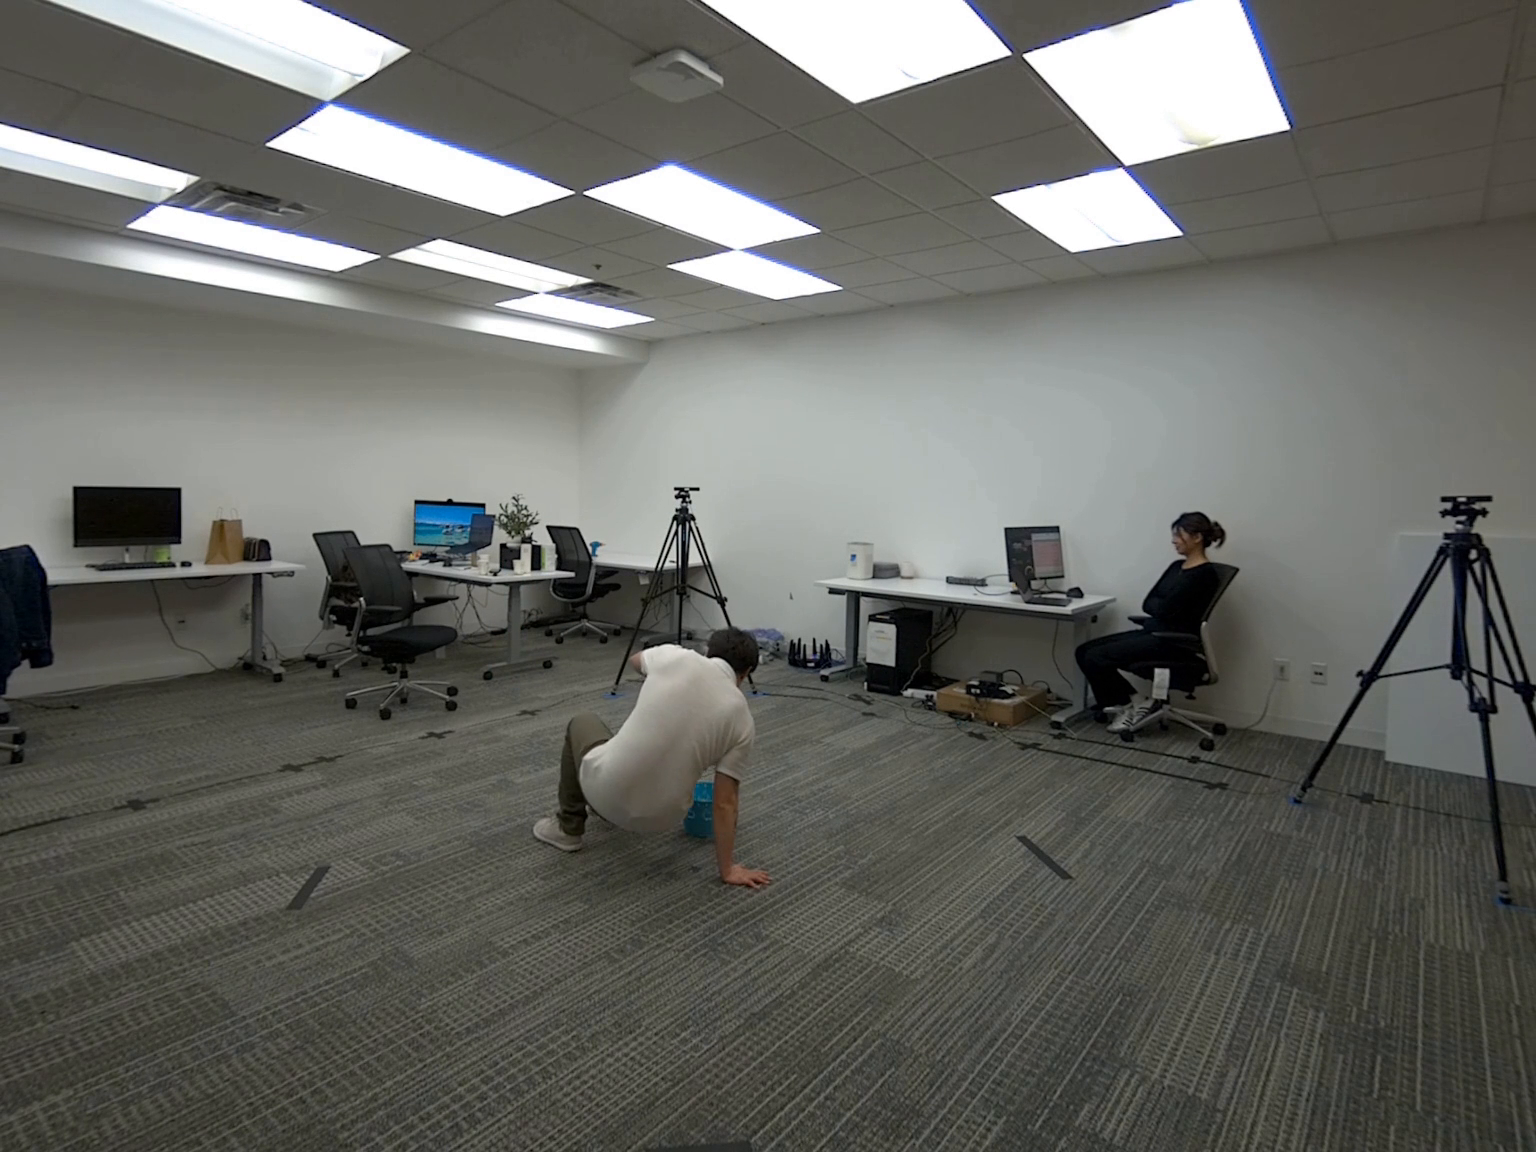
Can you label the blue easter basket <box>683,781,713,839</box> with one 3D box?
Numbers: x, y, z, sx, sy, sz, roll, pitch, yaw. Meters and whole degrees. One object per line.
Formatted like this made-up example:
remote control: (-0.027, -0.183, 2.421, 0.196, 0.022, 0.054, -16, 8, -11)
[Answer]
blue easter basket: (-0.256, 0.953, 3.474, 0.243, 0.155, 0.245, 1, 5, -2)
